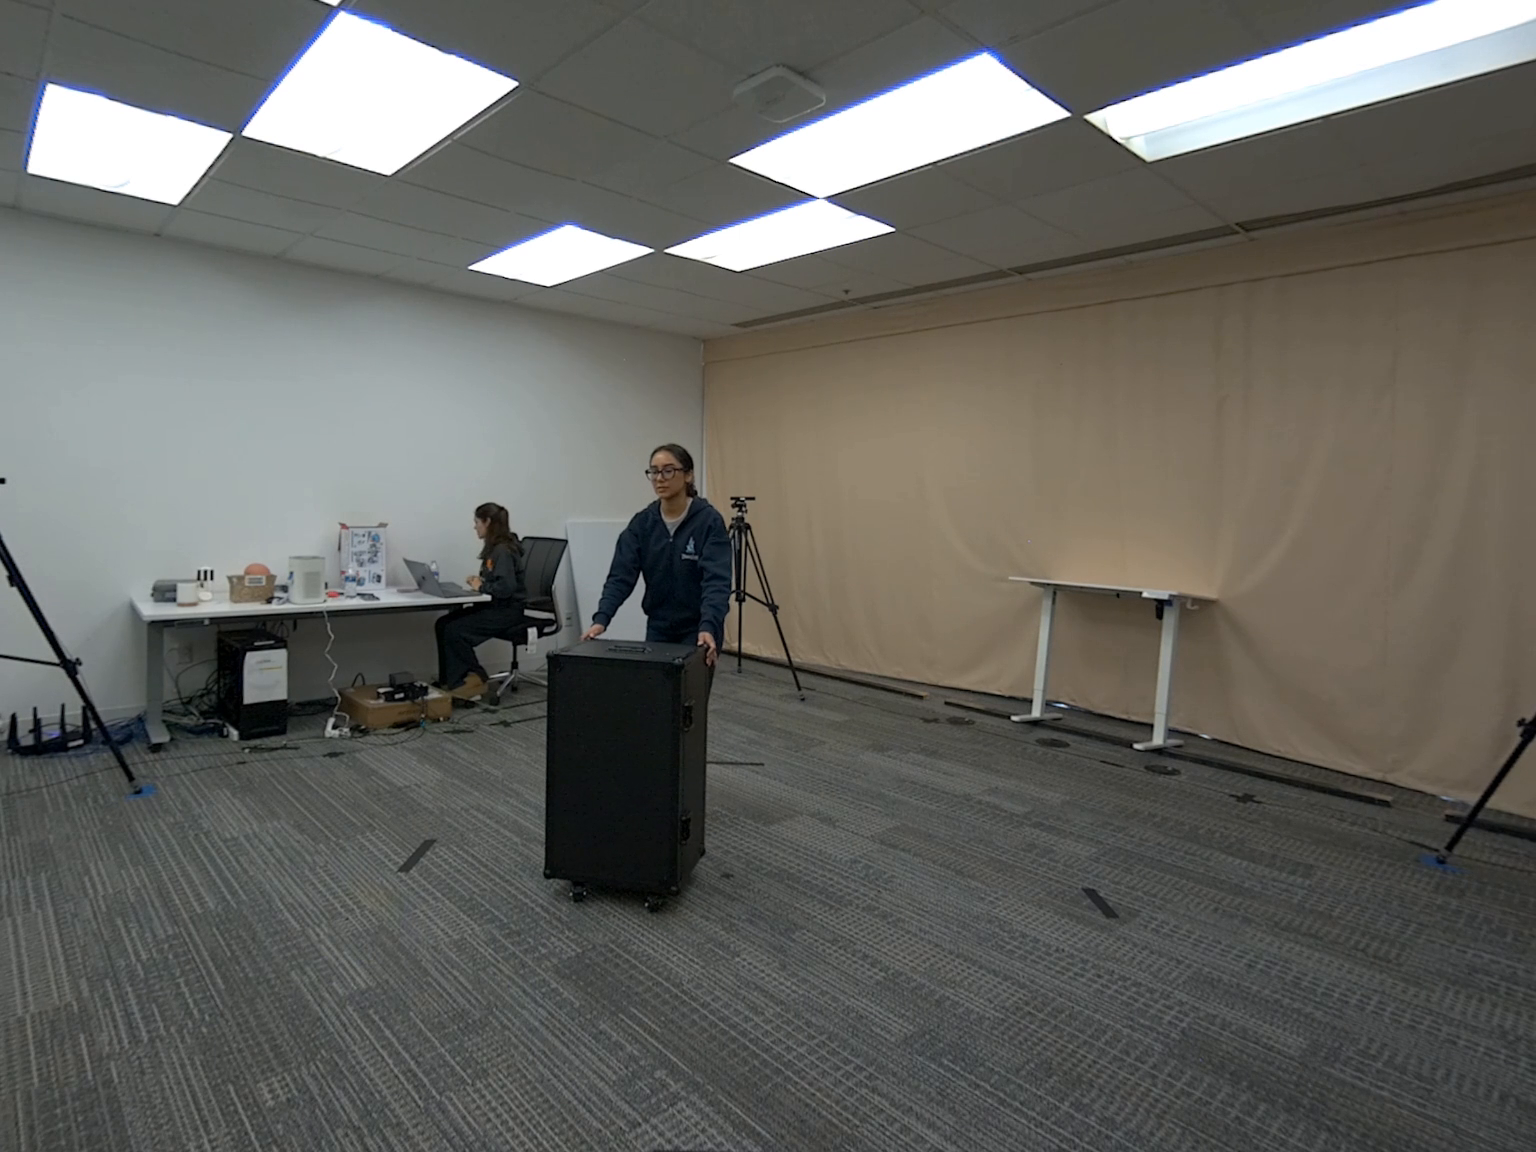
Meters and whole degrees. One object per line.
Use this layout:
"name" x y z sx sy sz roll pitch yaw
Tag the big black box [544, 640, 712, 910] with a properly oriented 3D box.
"big black box" -0.504 0.686 3.006 0.527 0.860 0.393 2 2 12
